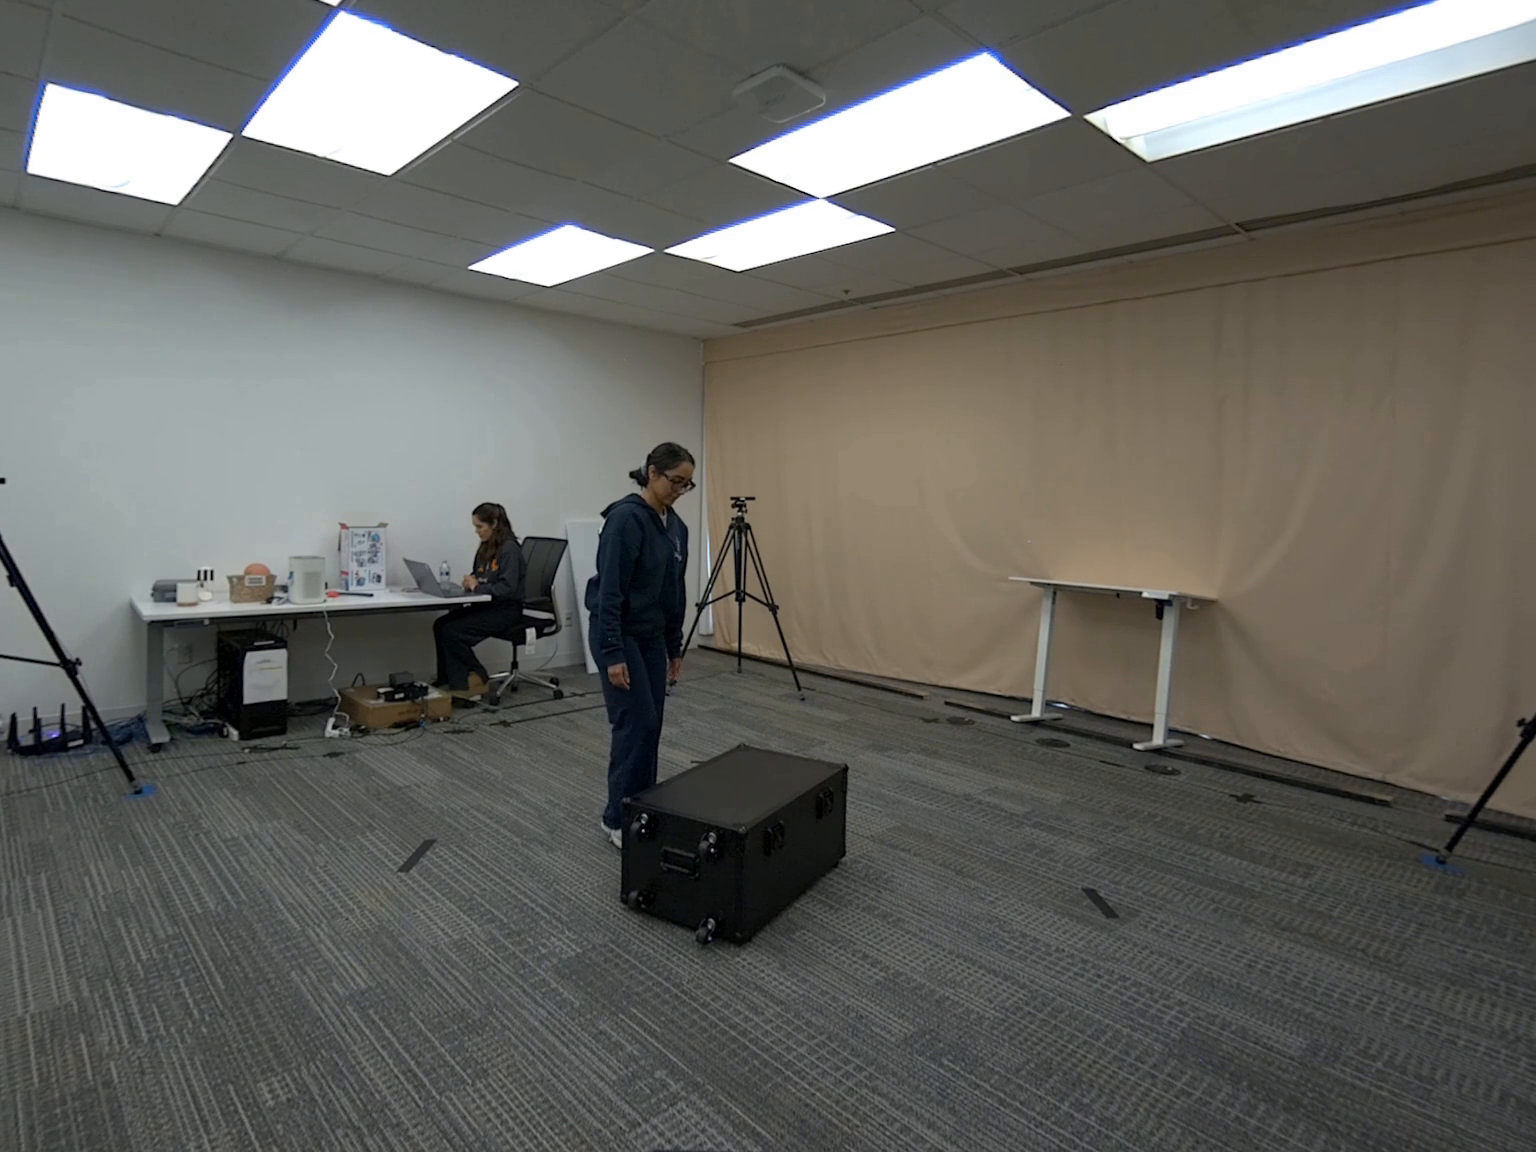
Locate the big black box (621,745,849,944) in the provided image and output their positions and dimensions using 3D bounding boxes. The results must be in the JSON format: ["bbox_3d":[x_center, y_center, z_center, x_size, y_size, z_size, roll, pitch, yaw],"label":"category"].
[{"bbox_3d":[-0.118,0.926,3.000,0.532,0.395,0.845,4,5,29],"label":"big black box"}]
